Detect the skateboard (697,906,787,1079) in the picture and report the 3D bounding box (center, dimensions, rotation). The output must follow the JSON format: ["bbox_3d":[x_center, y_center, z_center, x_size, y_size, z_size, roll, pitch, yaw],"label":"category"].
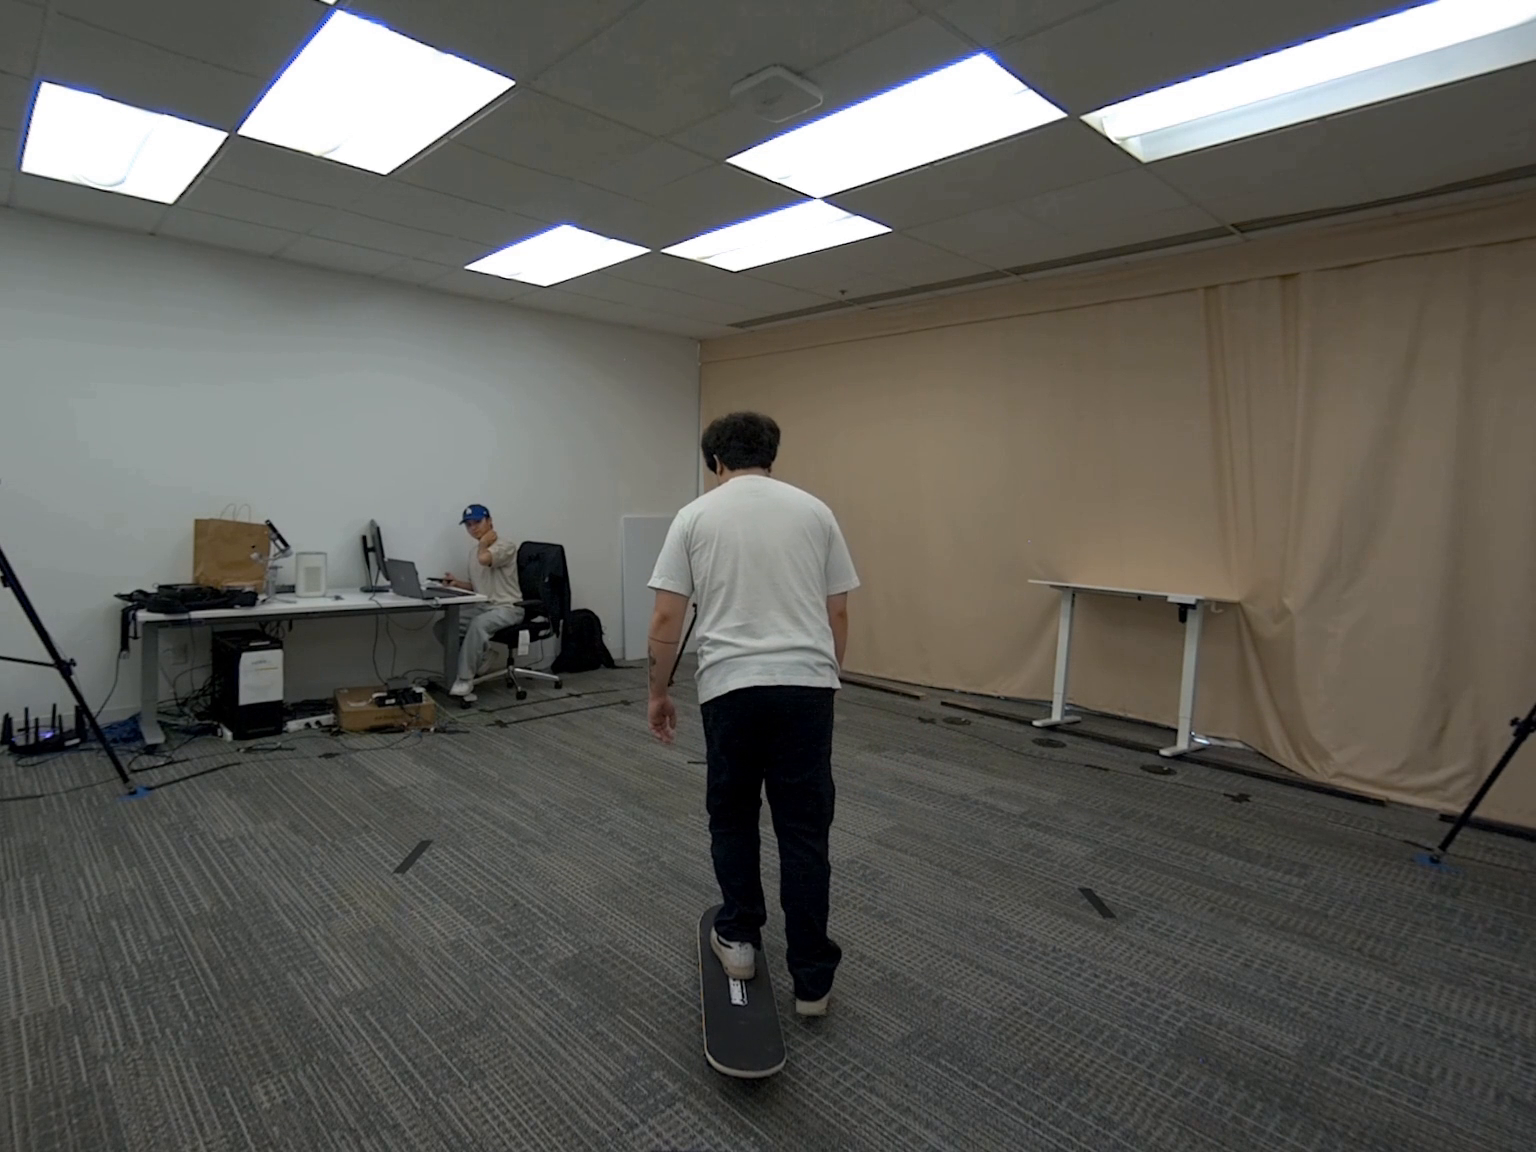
[{"bbox_3d":[-0.089,1.127,2.282,0.192,0.110,0.791,2,5,-7],"label":"skateboard"}]
